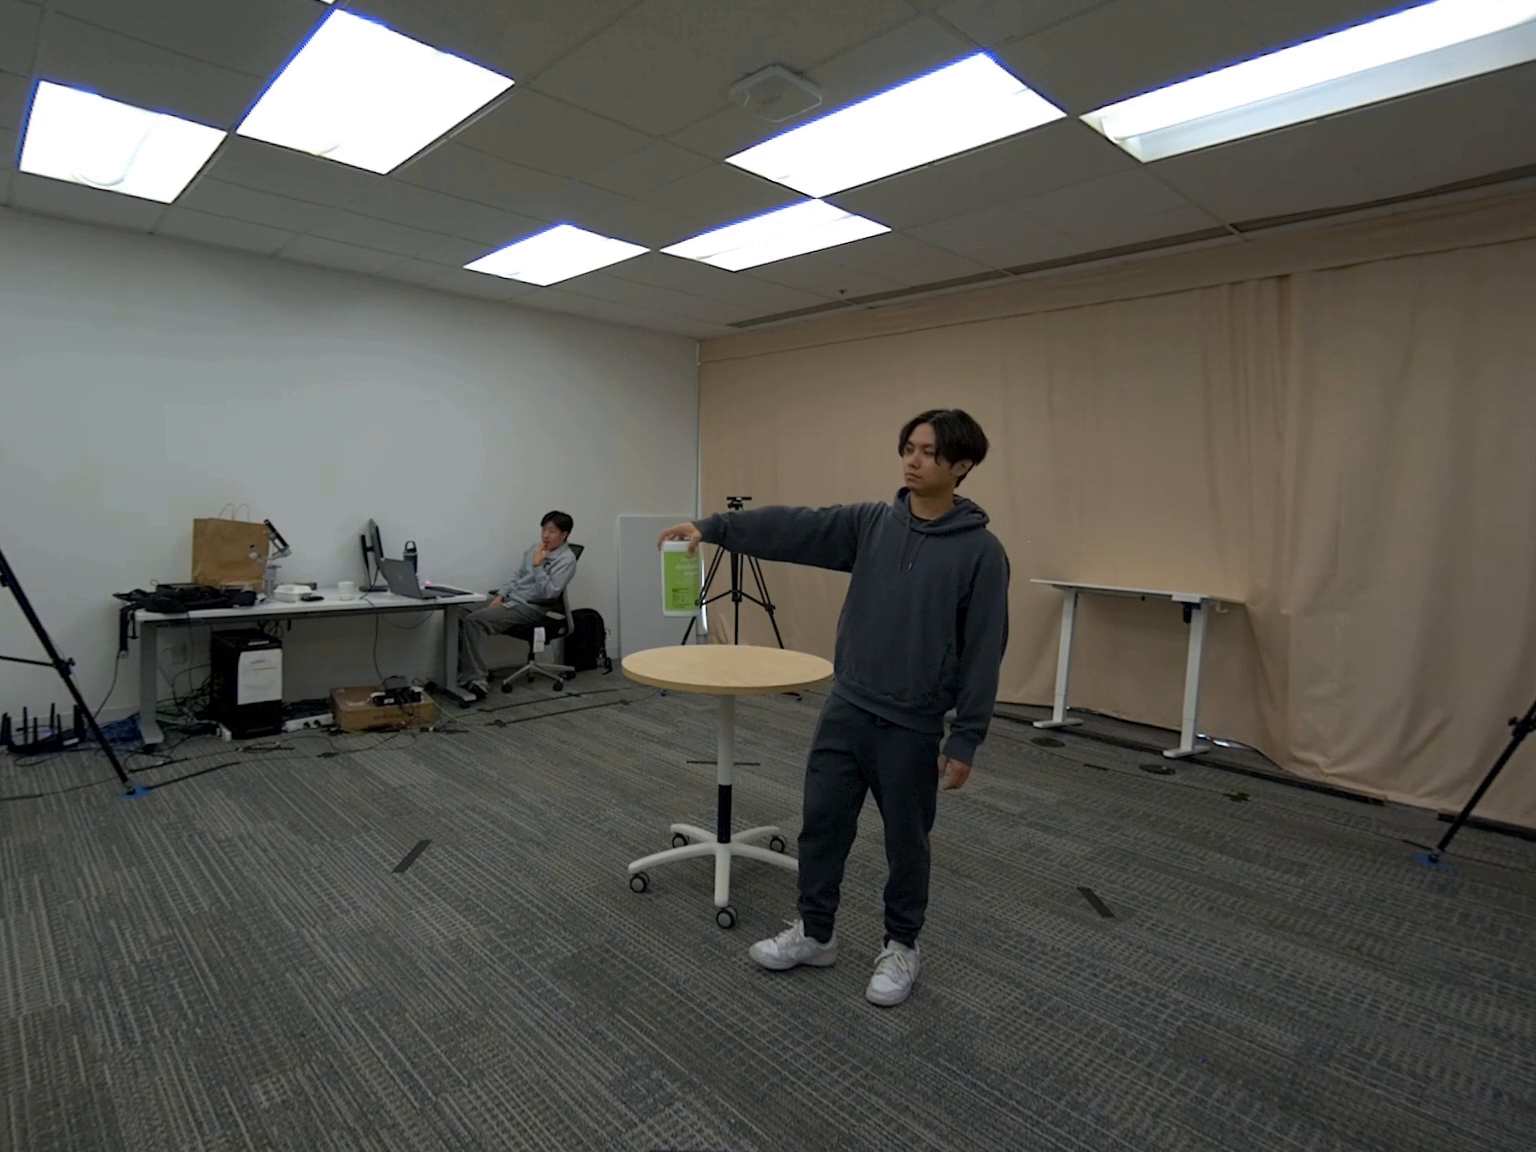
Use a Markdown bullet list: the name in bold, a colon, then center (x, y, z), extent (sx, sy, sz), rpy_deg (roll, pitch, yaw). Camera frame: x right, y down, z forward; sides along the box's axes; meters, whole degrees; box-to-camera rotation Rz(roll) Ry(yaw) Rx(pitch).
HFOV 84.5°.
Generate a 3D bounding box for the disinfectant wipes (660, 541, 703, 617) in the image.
- **disinfectant wipes**: center (-0.257, 0.009, 2.397), extent (0.118, 0.217, 0.118), rpy_deg (-1, 5, -1)
